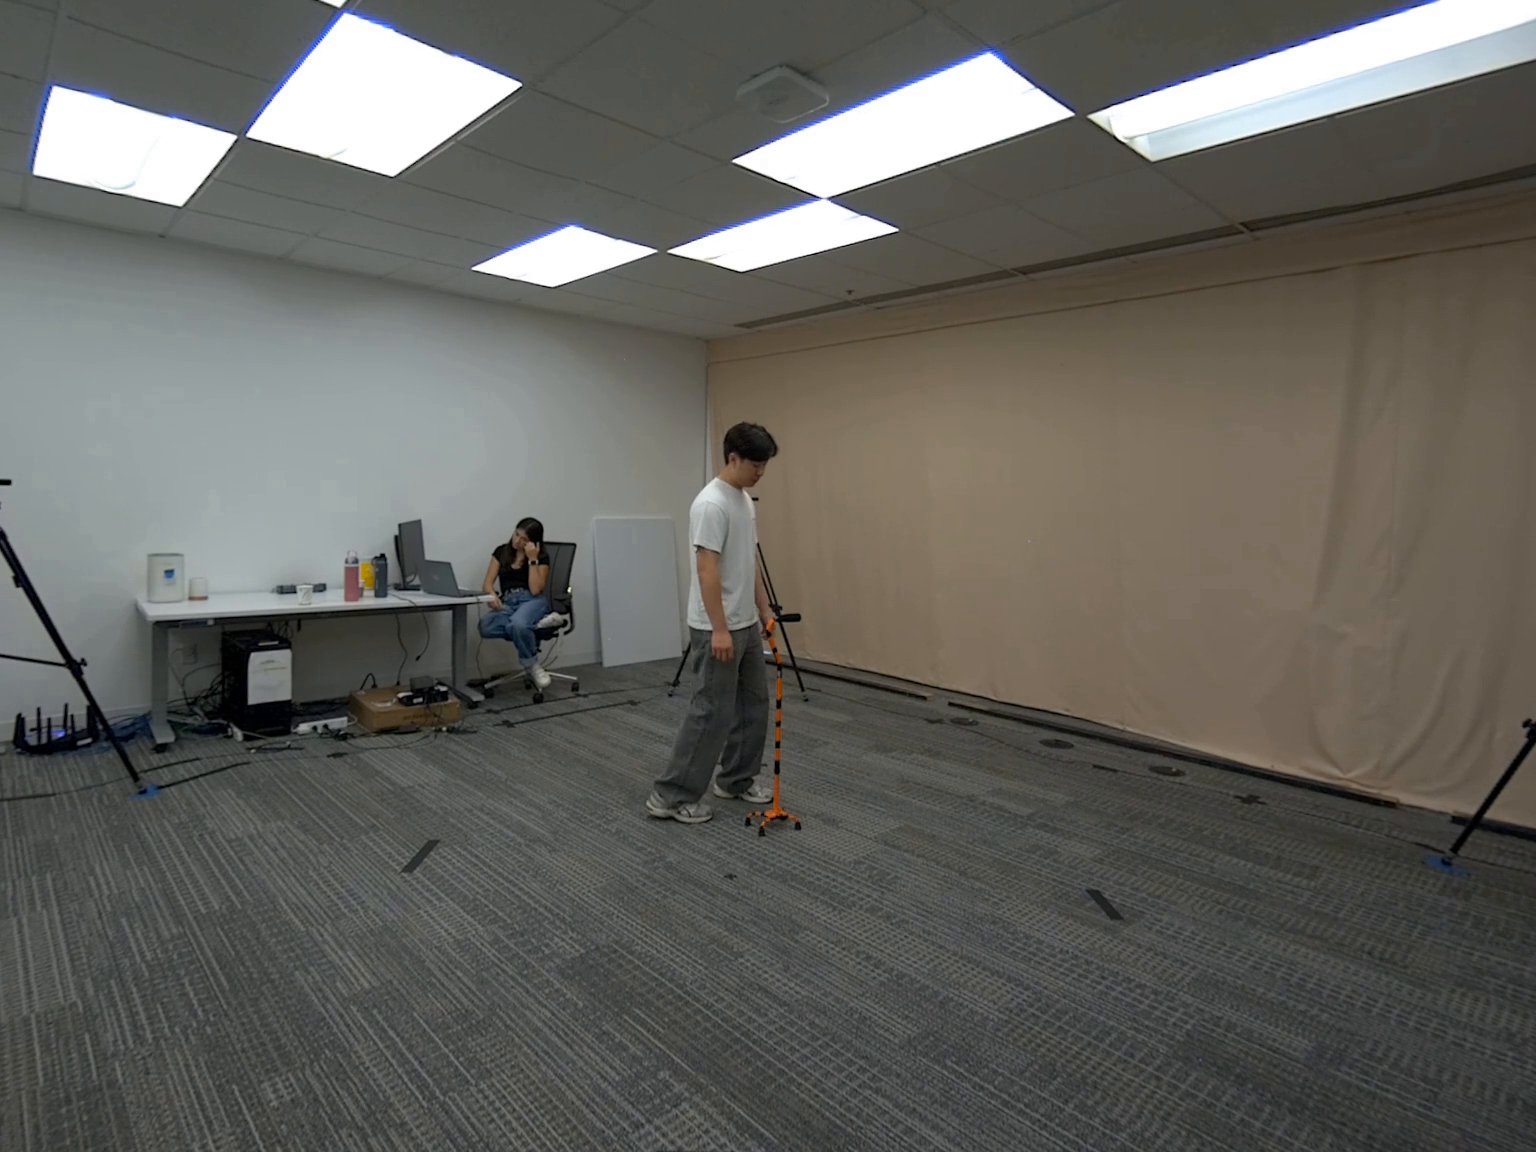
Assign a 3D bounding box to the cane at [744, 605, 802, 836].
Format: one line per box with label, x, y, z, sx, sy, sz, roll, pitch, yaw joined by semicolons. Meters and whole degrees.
cane;0.031;0.621;3.562;0.202;0.906;0.155;0;3;-29
